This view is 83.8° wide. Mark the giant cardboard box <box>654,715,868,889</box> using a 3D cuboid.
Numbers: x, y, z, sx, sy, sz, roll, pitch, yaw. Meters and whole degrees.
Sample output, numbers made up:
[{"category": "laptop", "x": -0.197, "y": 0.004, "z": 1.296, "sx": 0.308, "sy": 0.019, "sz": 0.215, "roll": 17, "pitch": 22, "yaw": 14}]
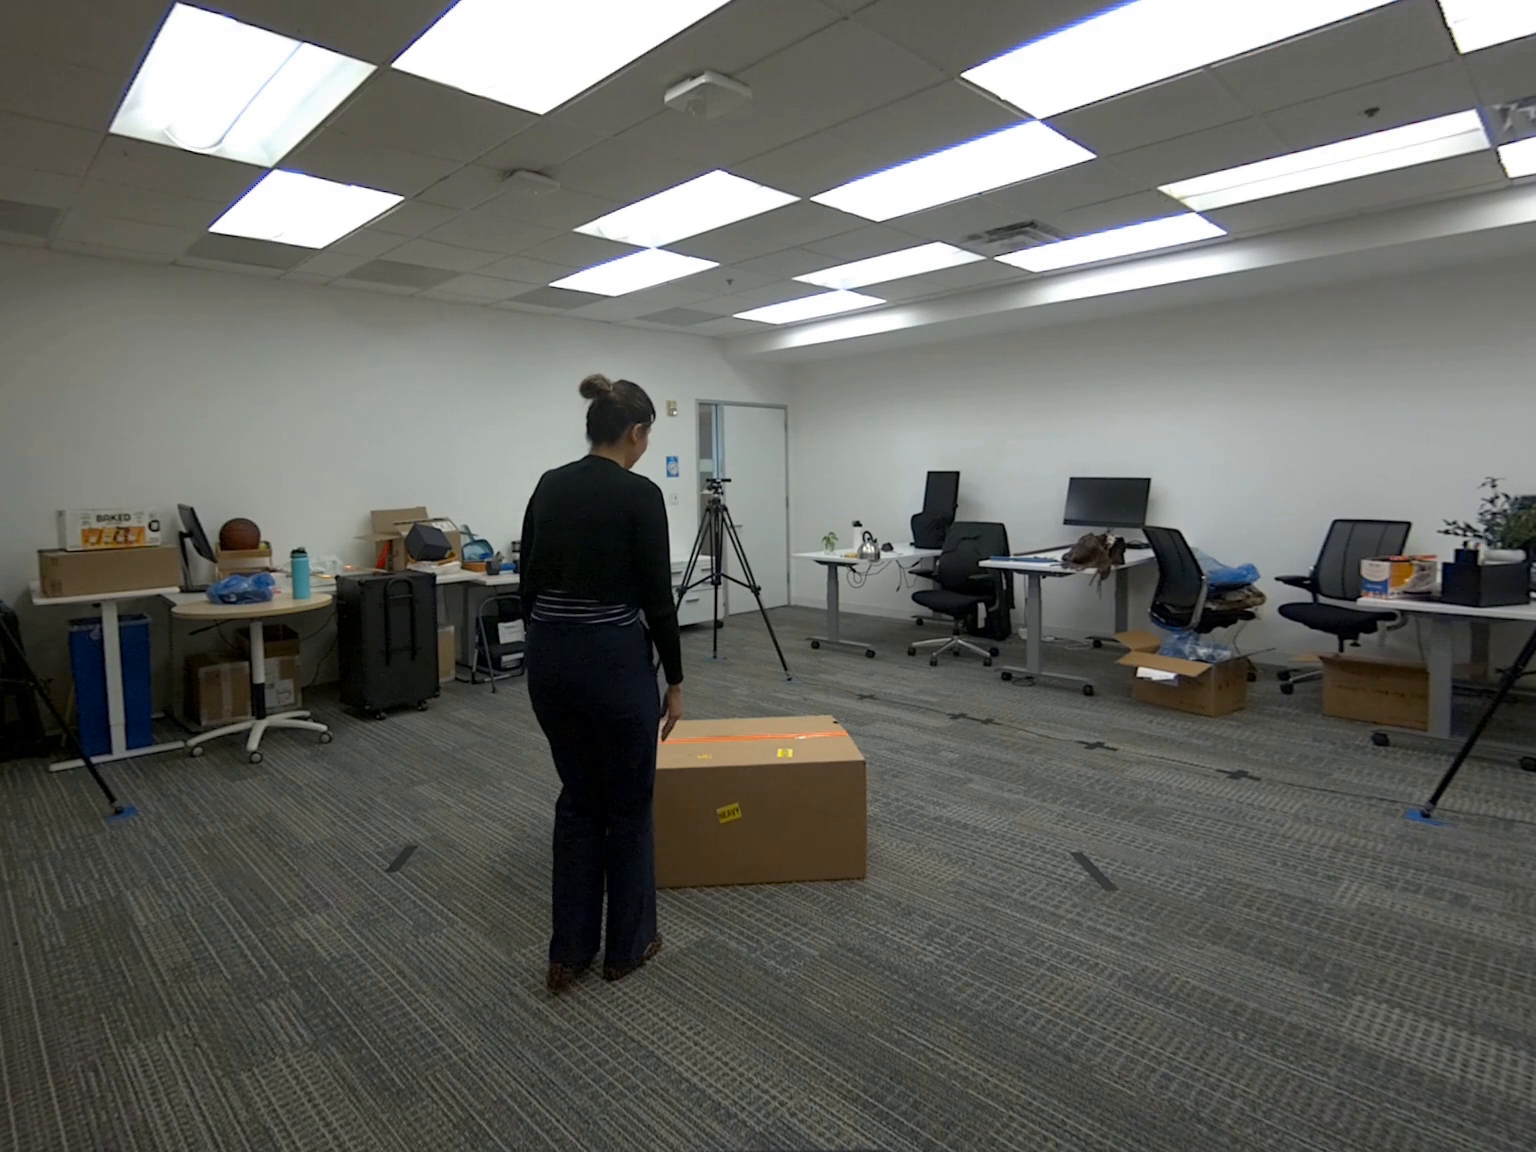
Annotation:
[{"category": "giant cardboard box", "x": -0.201, "y": 0.817, "z": 3.204, "sx": 1.021, "sy": 0.424, "sz": 0.583, "roll": -2, "pitch": 6, "yaw": -5}]
